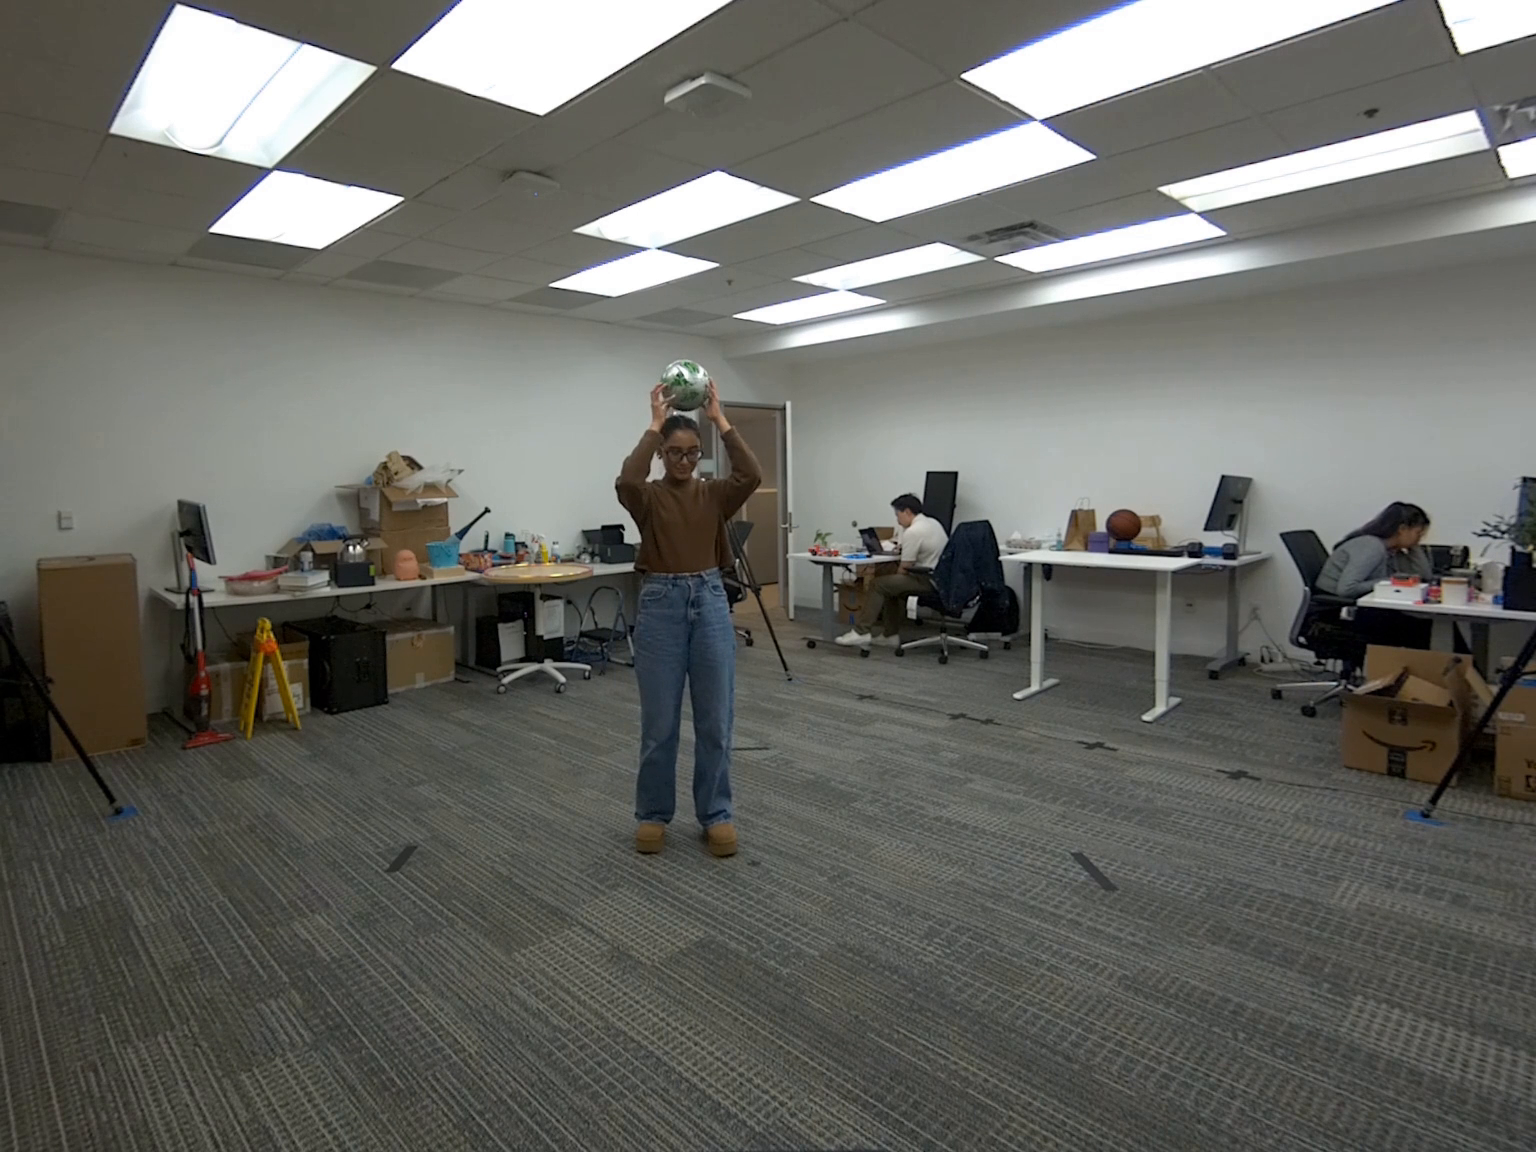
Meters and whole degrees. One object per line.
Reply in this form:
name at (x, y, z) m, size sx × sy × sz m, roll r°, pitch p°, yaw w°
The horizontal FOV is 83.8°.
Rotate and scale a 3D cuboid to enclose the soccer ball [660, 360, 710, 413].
soccer ball at (-0.309, -0.691, 3.135) m, size 0.187 × 0.187 × 0.188 m, roll -1°, pitch 5°, yaw -2°
